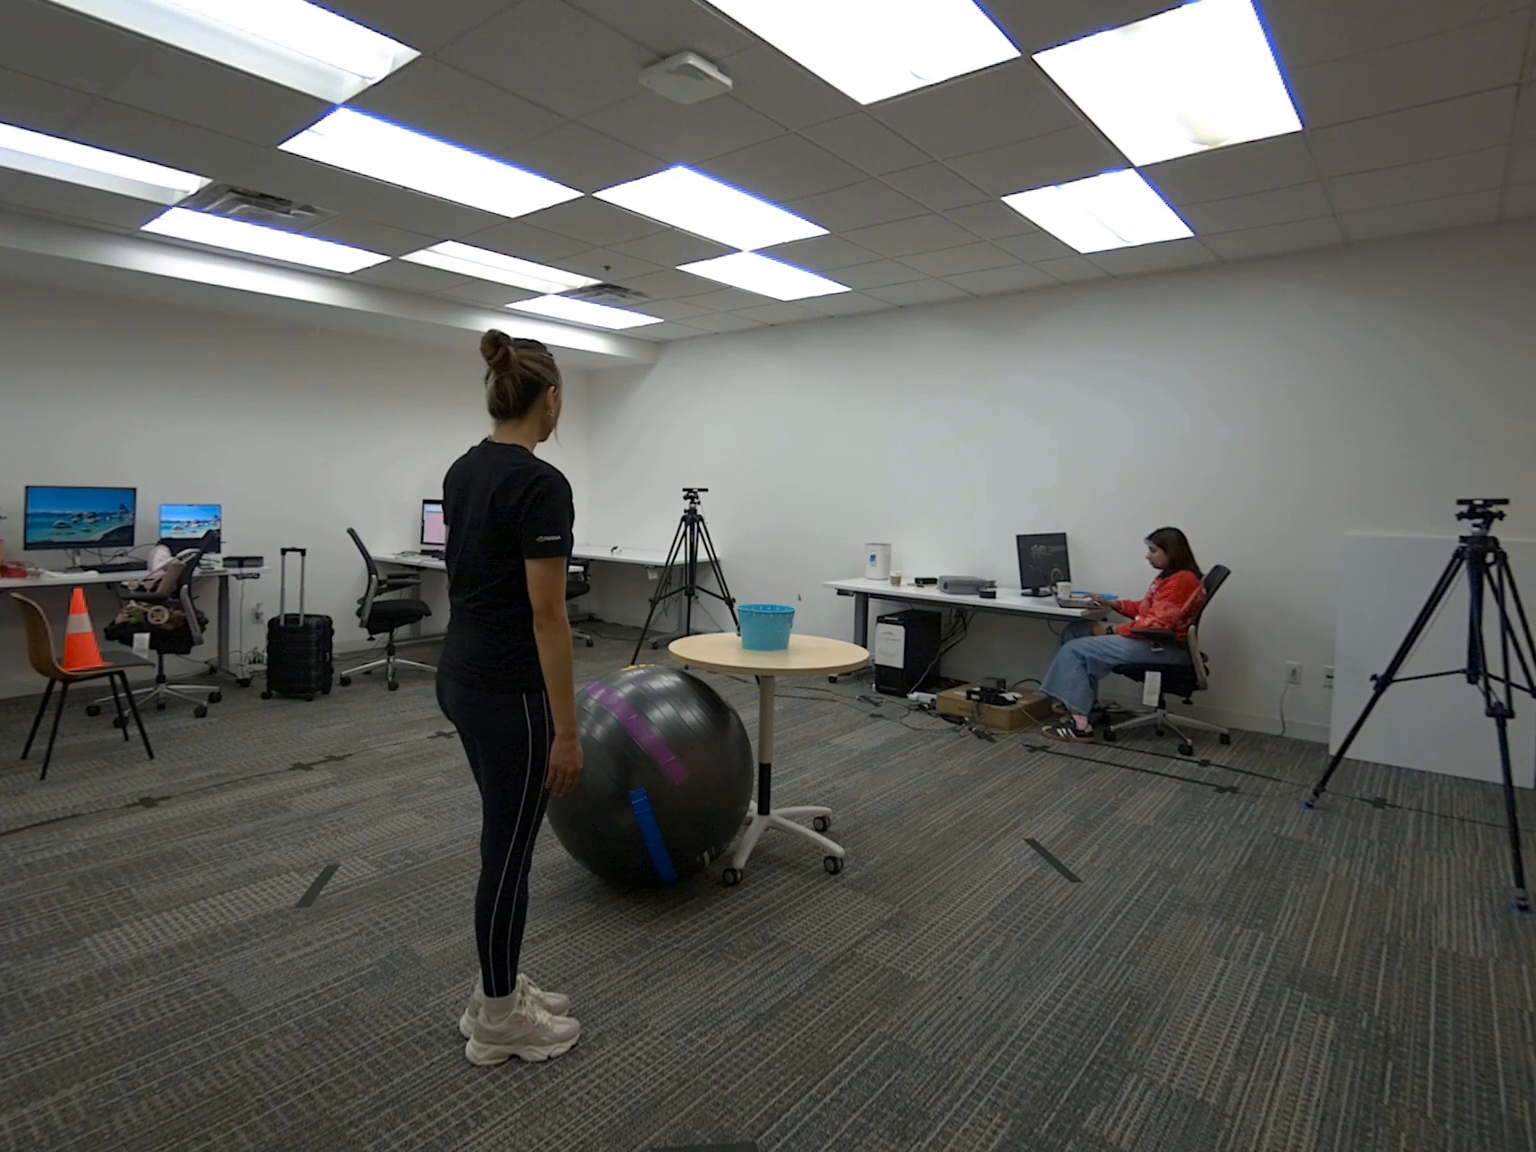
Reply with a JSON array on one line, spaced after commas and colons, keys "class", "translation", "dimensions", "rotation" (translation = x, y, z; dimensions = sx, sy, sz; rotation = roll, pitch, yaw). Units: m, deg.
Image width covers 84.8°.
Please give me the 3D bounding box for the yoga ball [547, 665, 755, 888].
[{"class": "yoga ball", "translation": [-0.436, 0.703, 3.035], "dimensions": [0.757, 0.756, 0.762], "rotation": [1, 4, -2]}]
